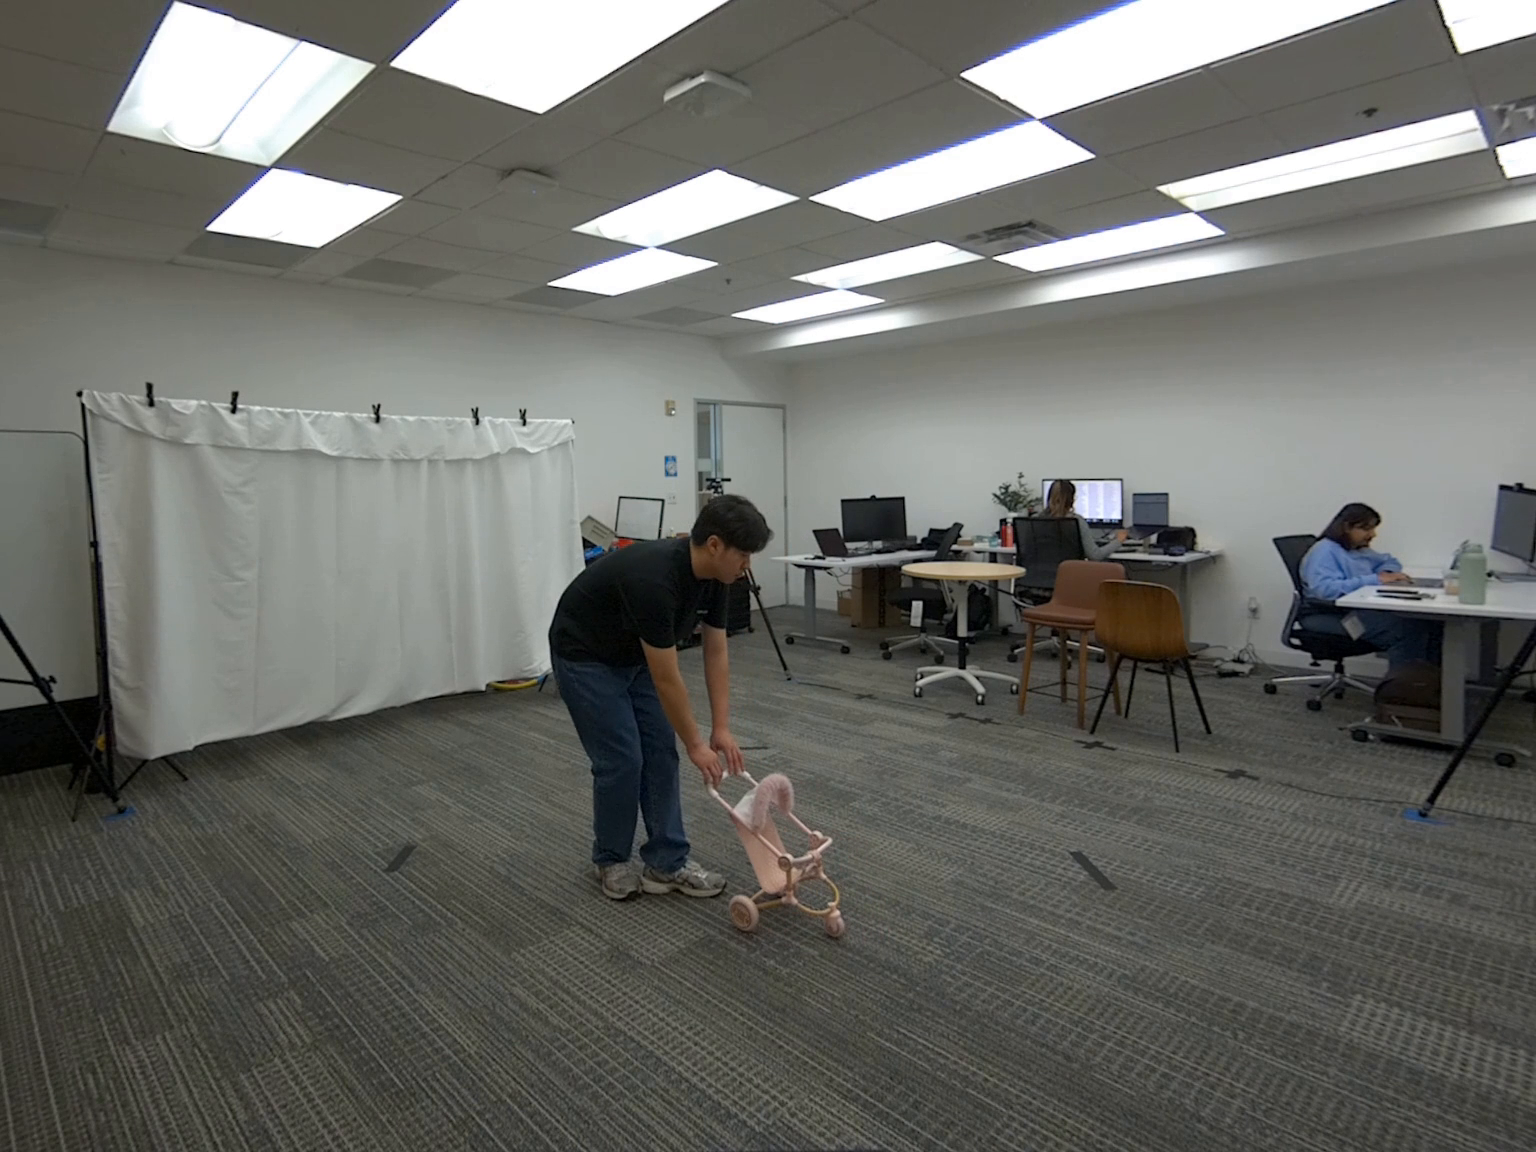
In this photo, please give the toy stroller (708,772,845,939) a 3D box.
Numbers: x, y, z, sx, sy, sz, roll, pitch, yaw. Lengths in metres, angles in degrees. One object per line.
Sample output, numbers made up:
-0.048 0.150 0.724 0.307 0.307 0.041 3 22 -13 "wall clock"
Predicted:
0.035 0.861 2.695 0.347 0.539 0.275 -19 -7 37 "toy stroller"
